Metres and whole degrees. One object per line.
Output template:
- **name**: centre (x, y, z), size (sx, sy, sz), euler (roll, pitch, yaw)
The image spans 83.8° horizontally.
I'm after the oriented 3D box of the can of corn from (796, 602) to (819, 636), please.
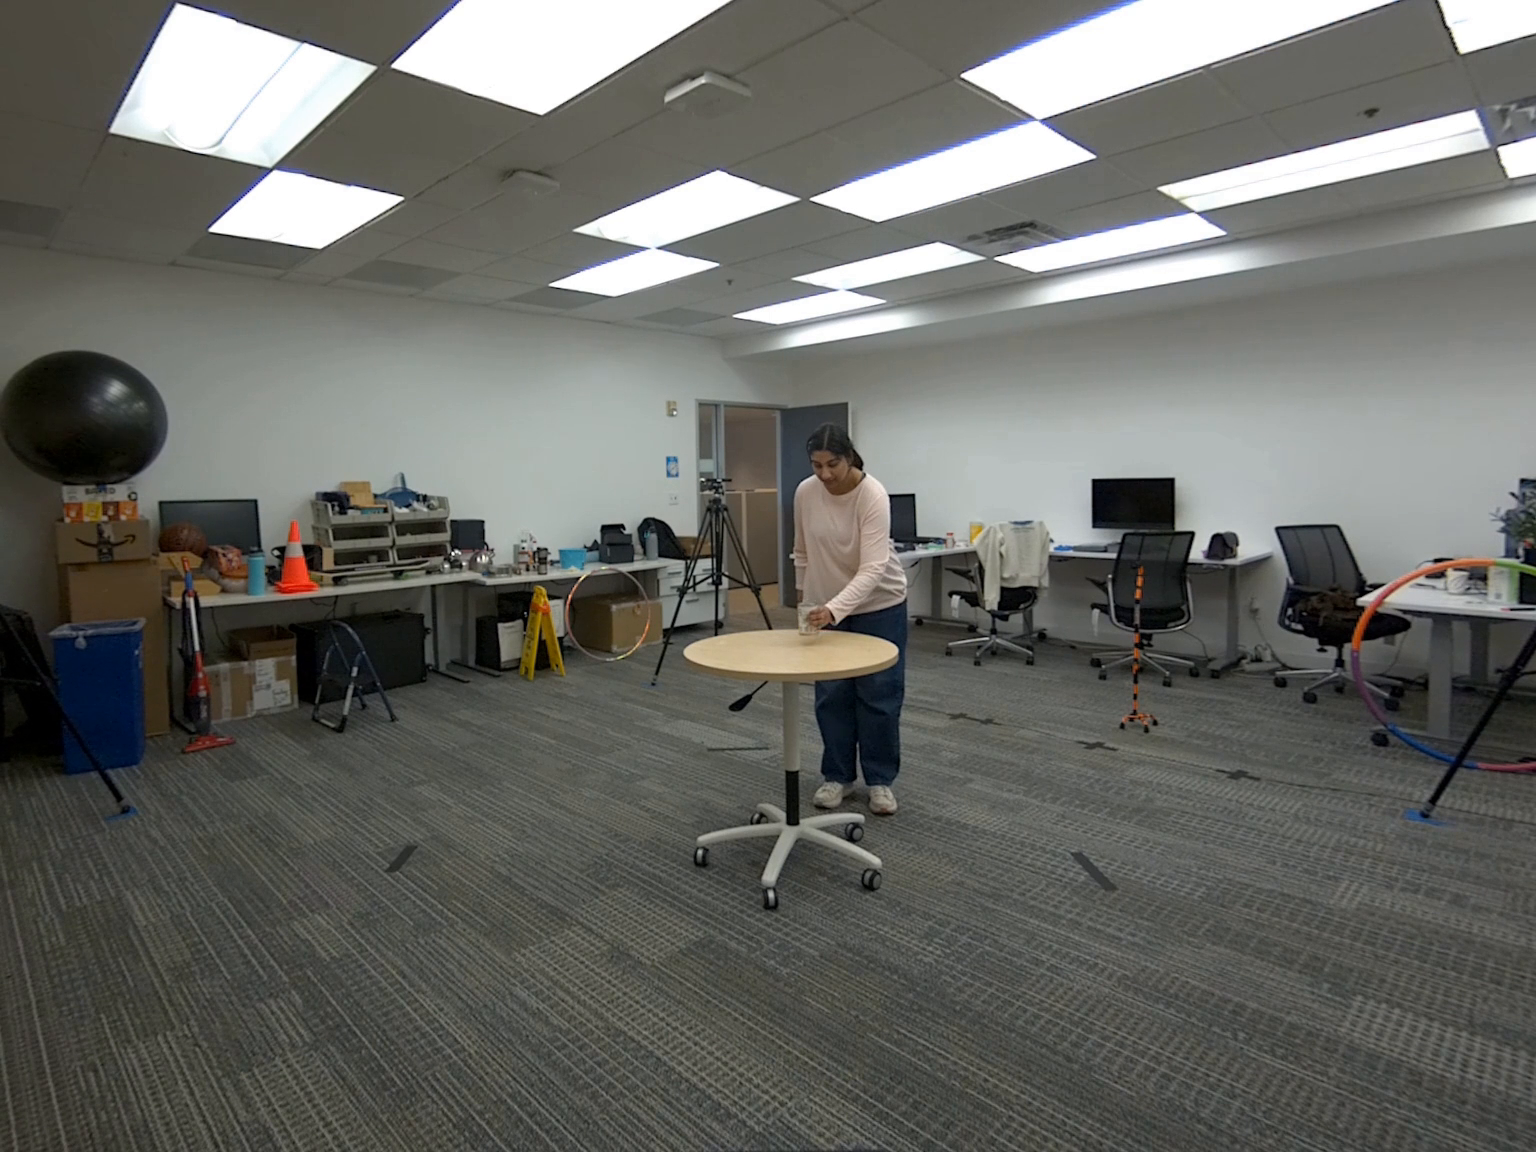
- **can of corn**: centre (0.158, 0.155, 3.129), size (0.074, 0.111, 0.074), euler (-2, 3, -2)
